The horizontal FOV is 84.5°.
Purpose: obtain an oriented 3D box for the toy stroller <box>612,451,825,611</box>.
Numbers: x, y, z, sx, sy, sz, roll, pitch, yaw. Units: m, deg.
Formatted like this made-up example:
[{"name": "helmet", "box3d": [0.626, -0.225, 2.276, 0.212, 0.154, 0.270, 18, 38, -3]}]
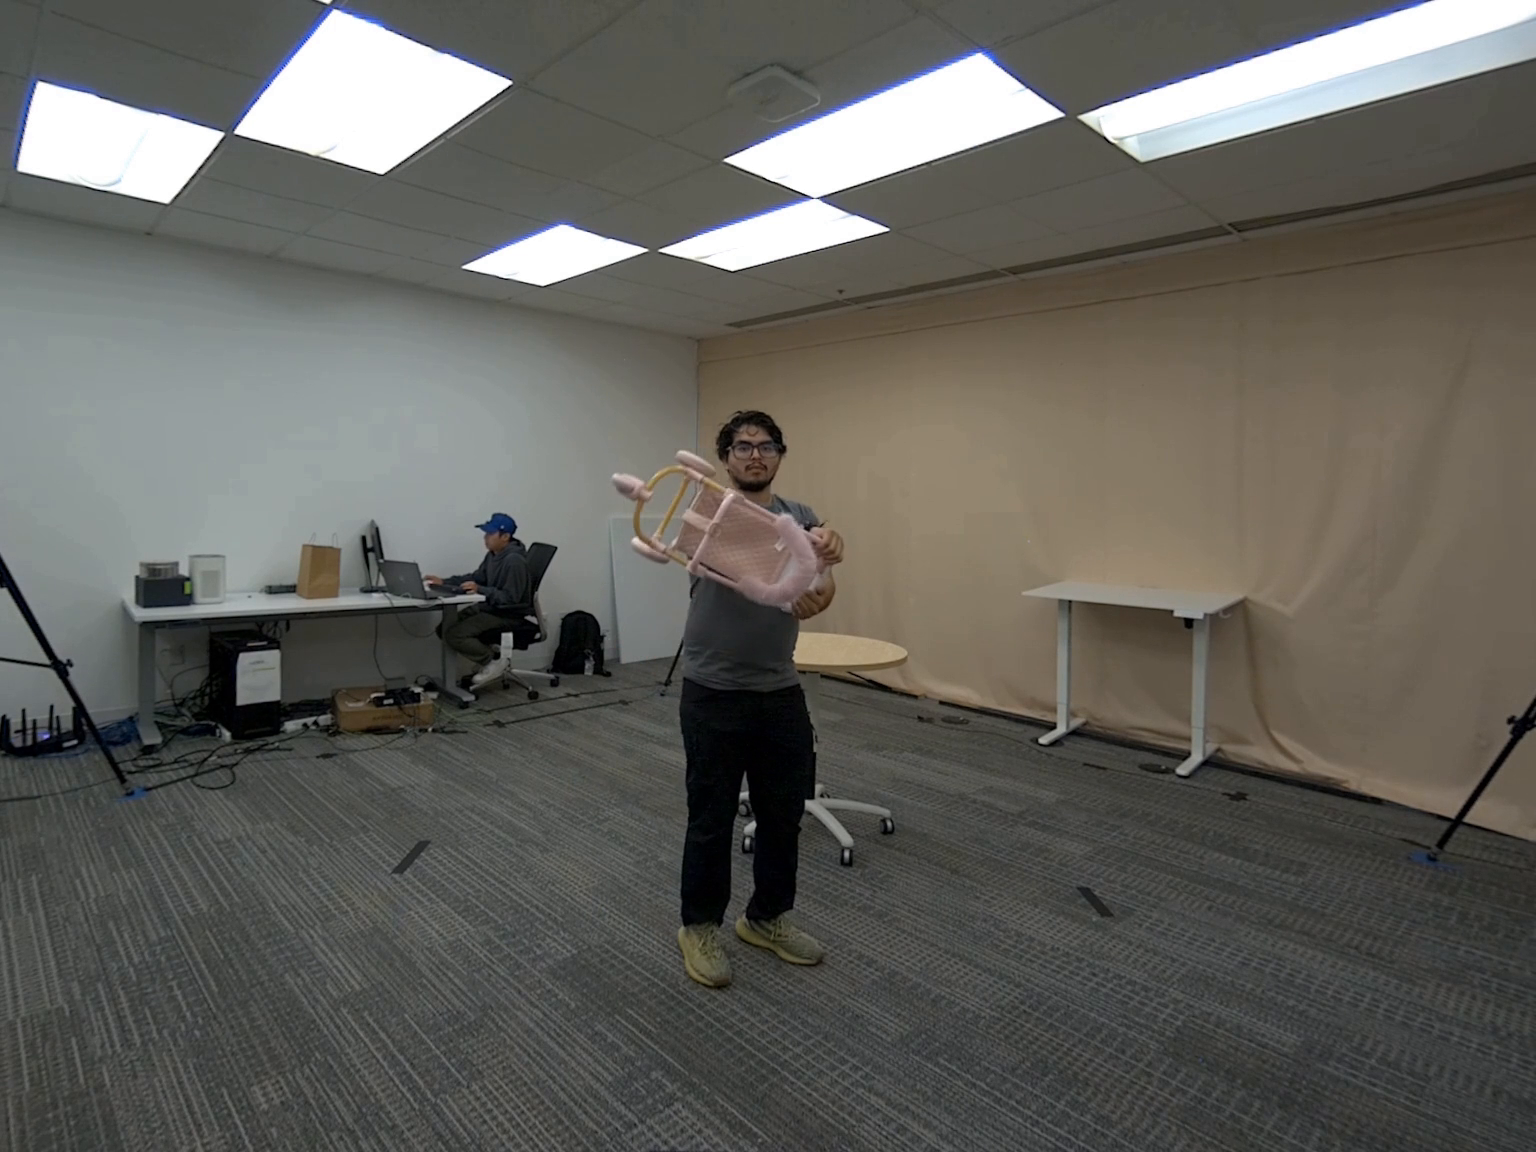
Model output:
[{"name": "toy stroller", "box3d": [-0.115, -0.093, 2.008, 0.539, 0.281, 0.339, 30, -1, 6]}]
